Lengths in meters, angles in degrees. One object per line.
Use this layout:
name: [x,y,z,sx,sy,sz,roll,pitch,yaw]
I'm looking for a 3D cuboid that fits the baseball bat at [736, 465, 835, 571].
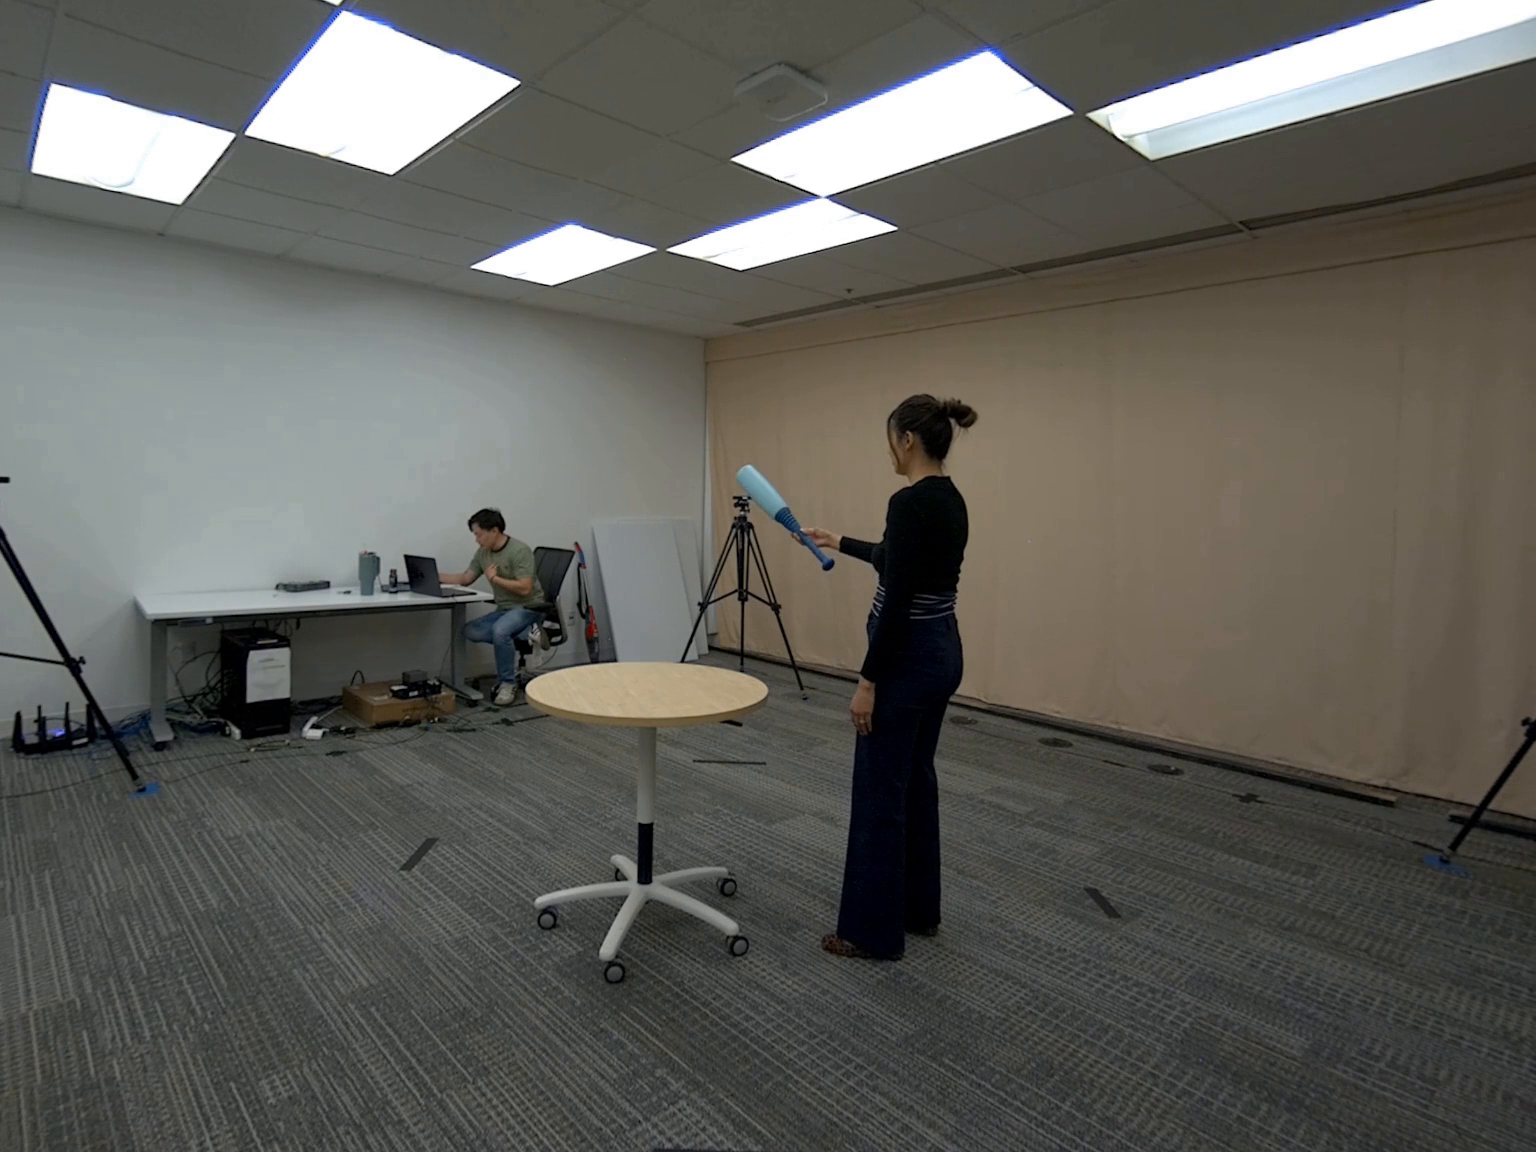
baseball bat: [0.049,-0.204,3.096,0.087,0.088,0.558,-2,44,-46]
